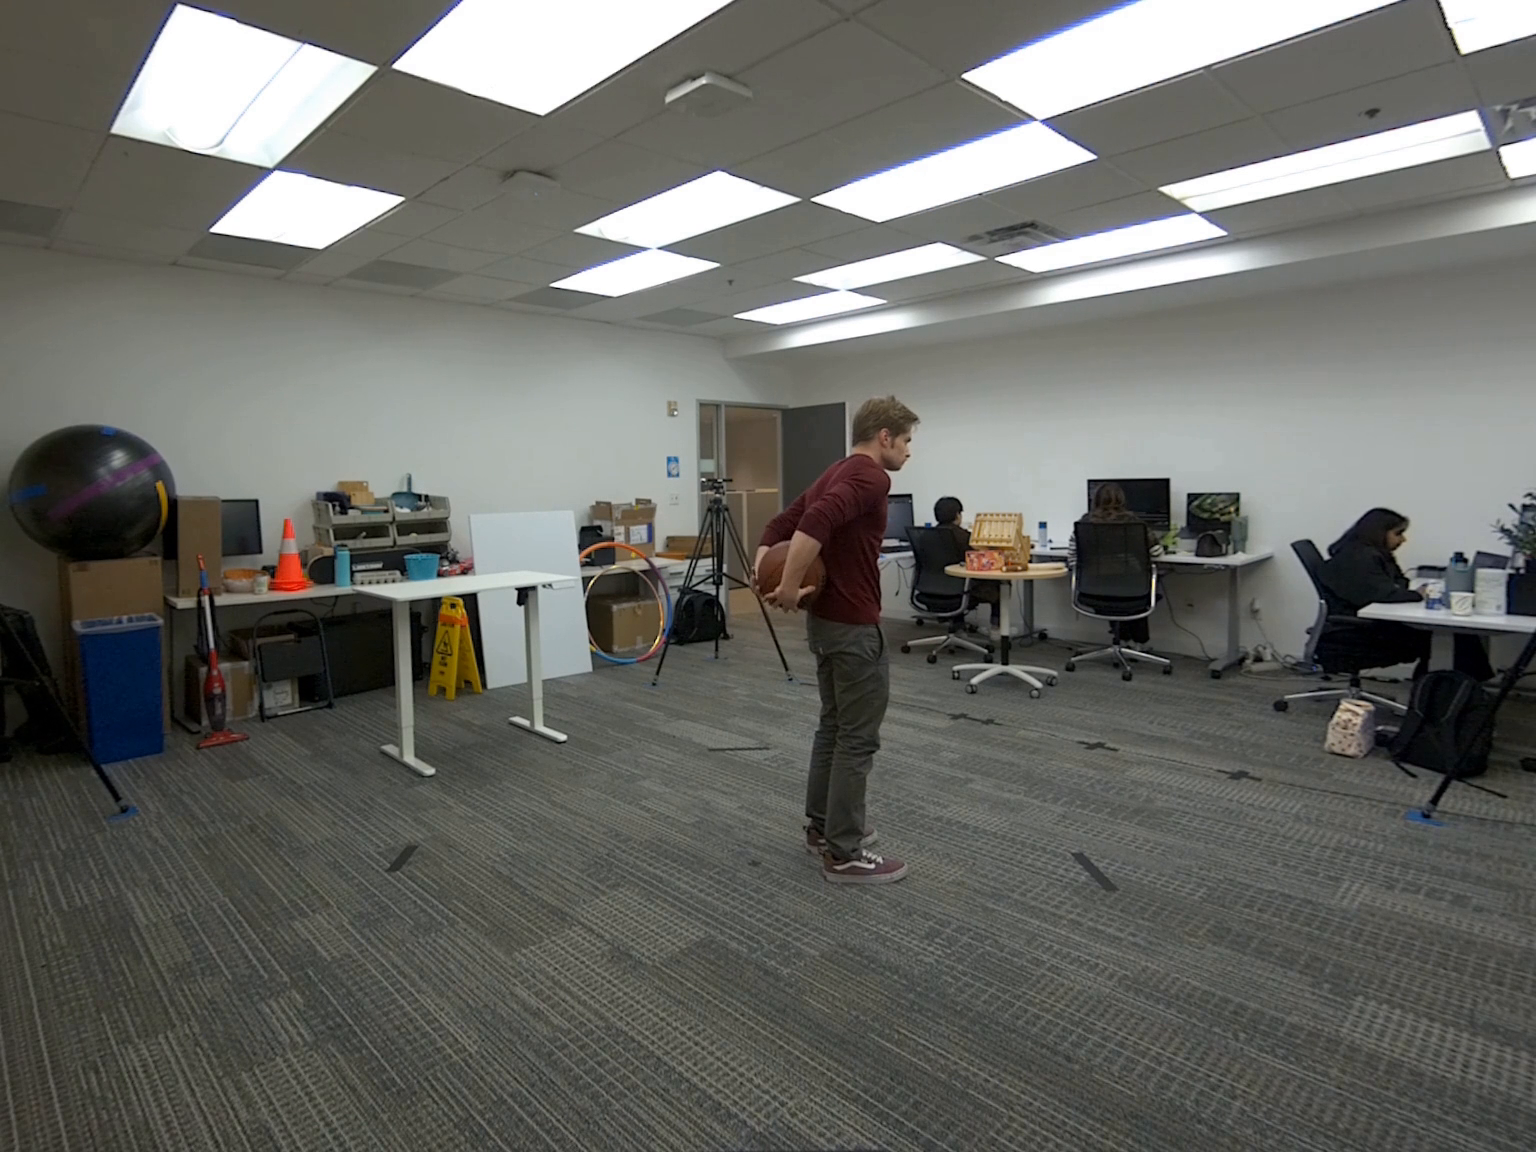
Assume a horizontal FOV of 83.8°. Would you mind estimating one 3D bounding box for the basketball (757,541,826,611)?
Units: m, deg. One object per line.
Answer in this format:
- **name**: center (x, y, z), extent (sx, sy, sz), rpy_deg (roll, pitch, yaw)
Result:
- **basketball**: center (0.086, -0.003, 2.971), extent (0.236, 0.235, 0.237), rpy_deg (-1, 5, -2)
